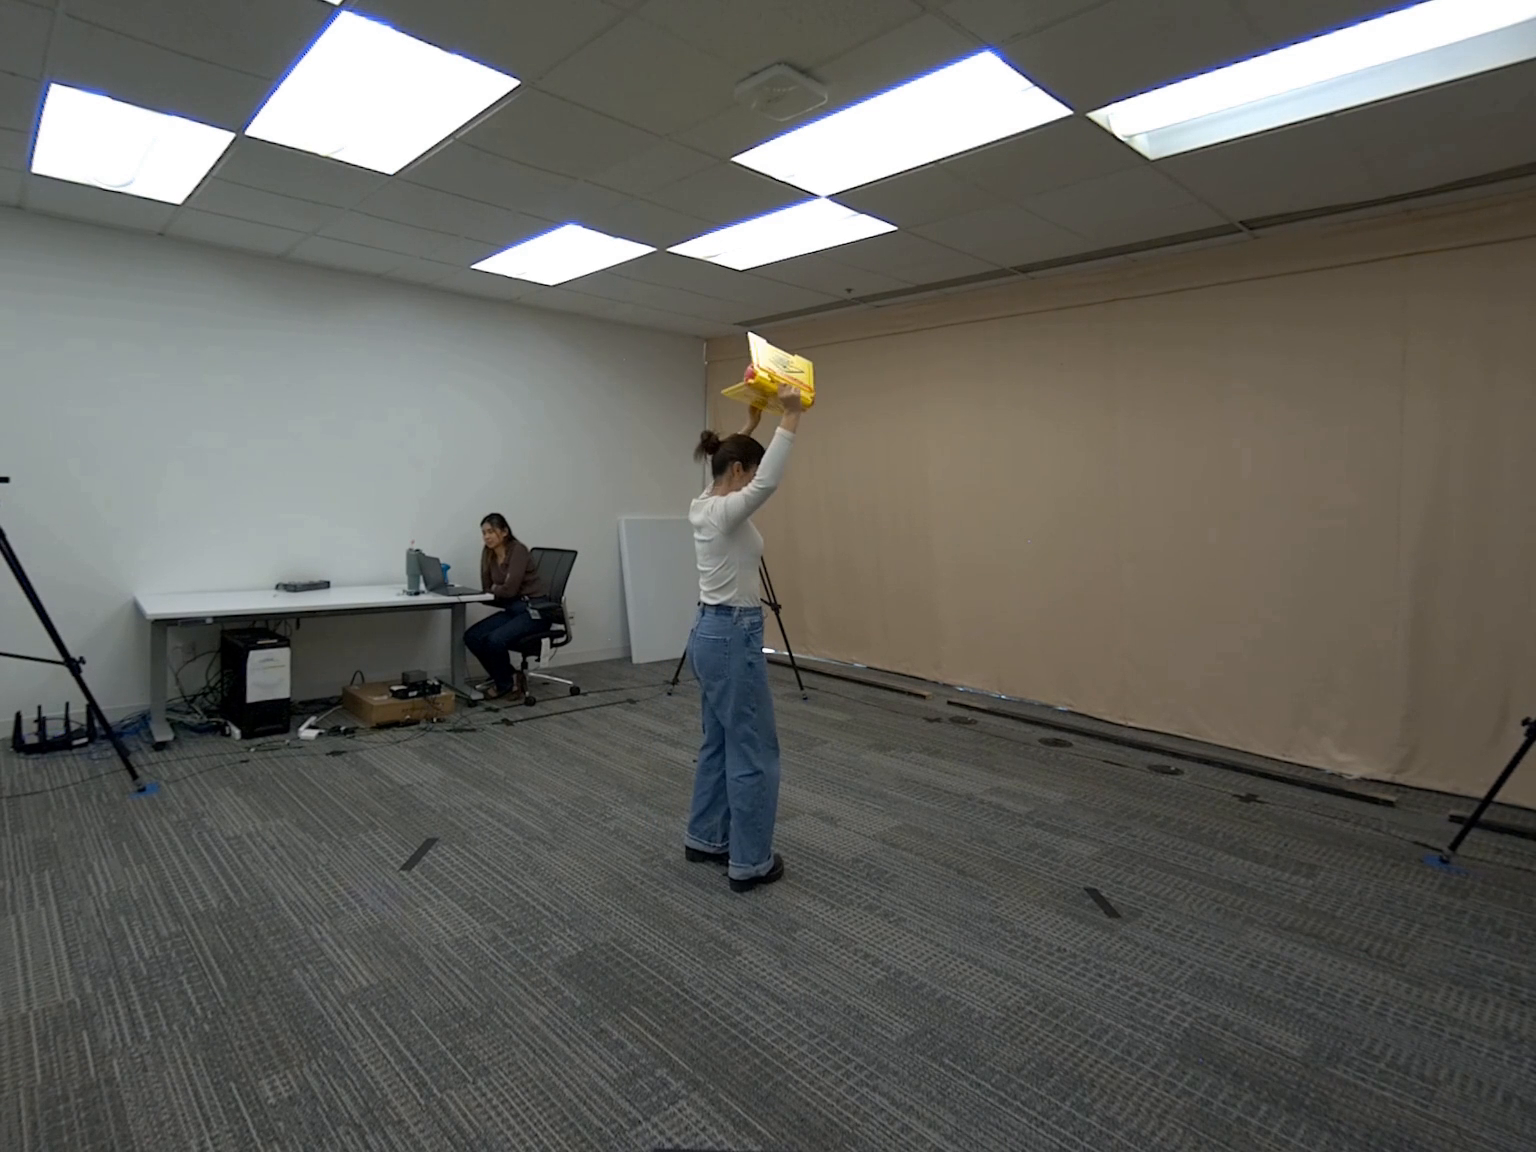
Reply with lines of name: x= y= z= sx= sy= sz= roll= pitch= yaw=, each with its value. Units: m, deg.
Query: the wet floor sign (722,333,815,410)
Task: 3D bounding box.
wet floor sign: x=0.013 y=-0.692 z=3.011 sx=0.279 sy=0.288 sz=0.655 roll=23 pitch=12 yaw=-11
